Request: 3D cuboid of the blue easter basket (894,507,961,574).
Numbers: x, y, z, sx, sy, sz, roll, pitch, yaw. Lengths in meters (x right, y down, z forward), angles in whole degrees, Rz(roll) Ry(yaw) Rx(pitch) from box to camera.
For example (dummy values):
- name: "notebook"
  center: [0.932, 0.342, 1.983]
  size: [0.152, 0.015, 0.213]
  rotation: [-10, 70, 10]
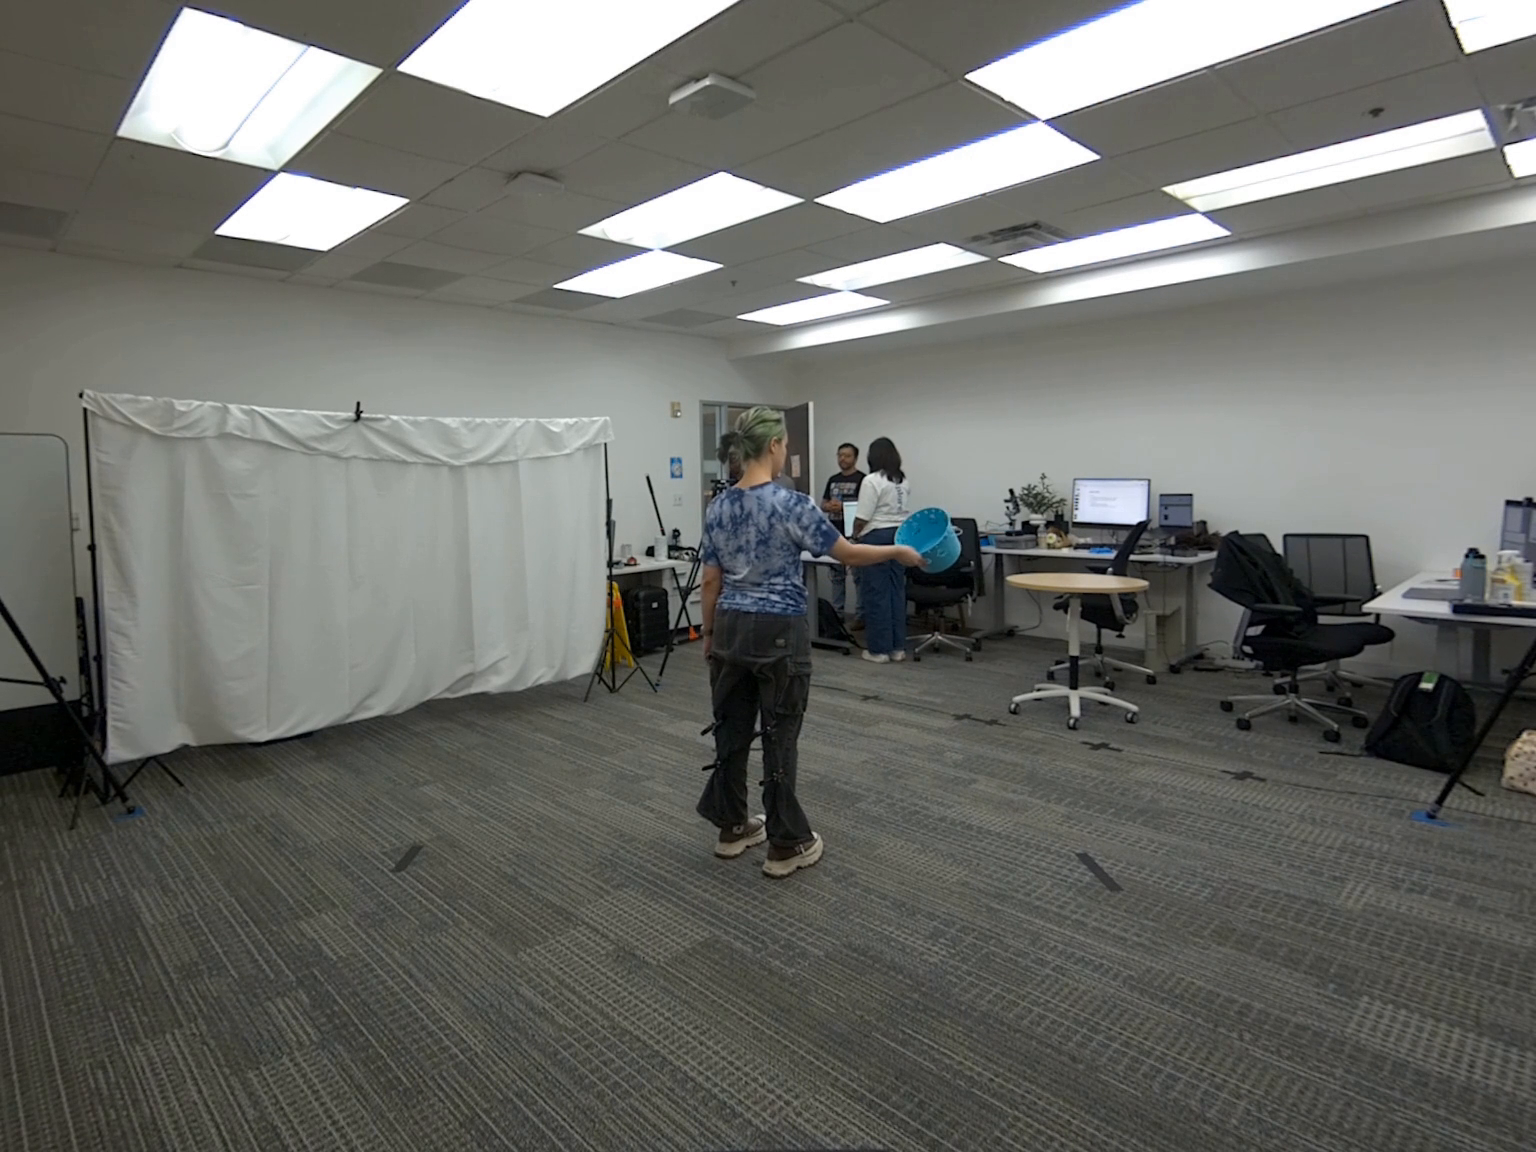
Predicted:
- name: "blue easter basket"
  center: [0.636, -0.120, 3.307]
  size: [0.251, 0.245, 0.150]
  rotation: [5, -34, 48]
